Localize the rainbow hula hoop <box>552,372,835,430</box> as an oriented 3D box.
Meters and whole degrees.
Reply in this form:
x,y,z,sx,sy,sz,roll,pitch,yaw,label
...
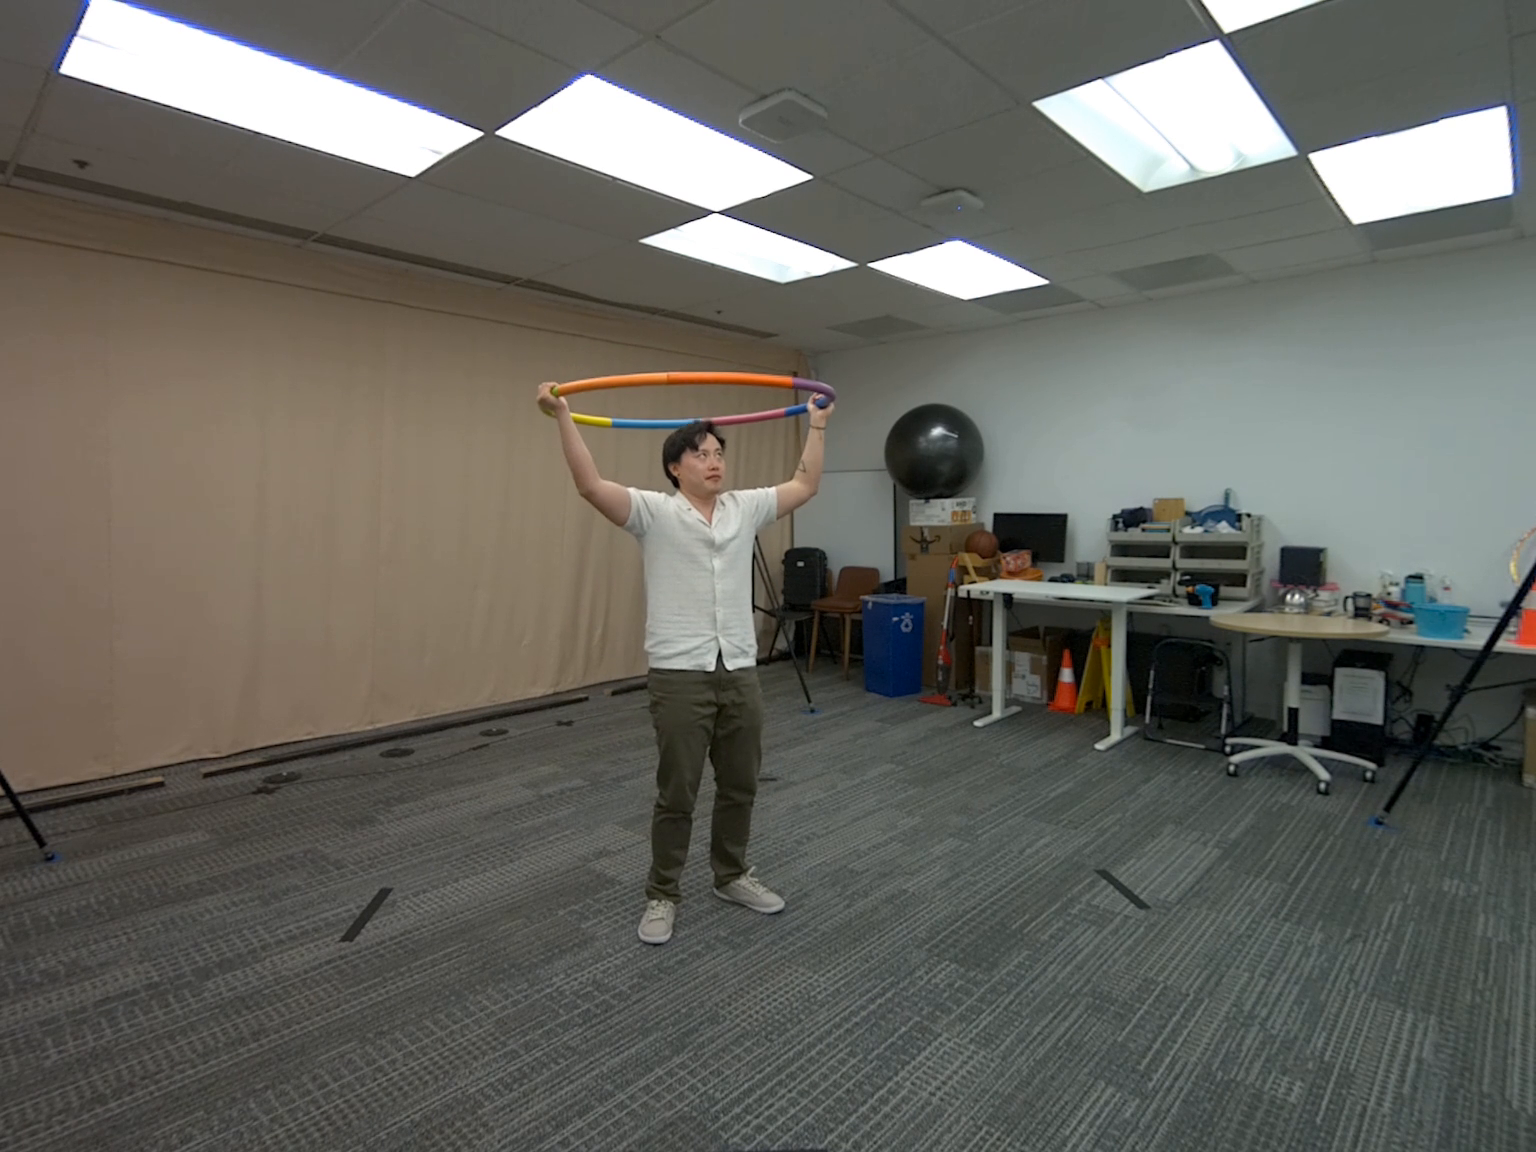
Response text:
x,y,z,sx,sy,sz,roll,pitch,yaw,label
-0.269,-0.576,2.831,0.978,0.035,0.981,-2,3,-2,rainbow hula hoop
